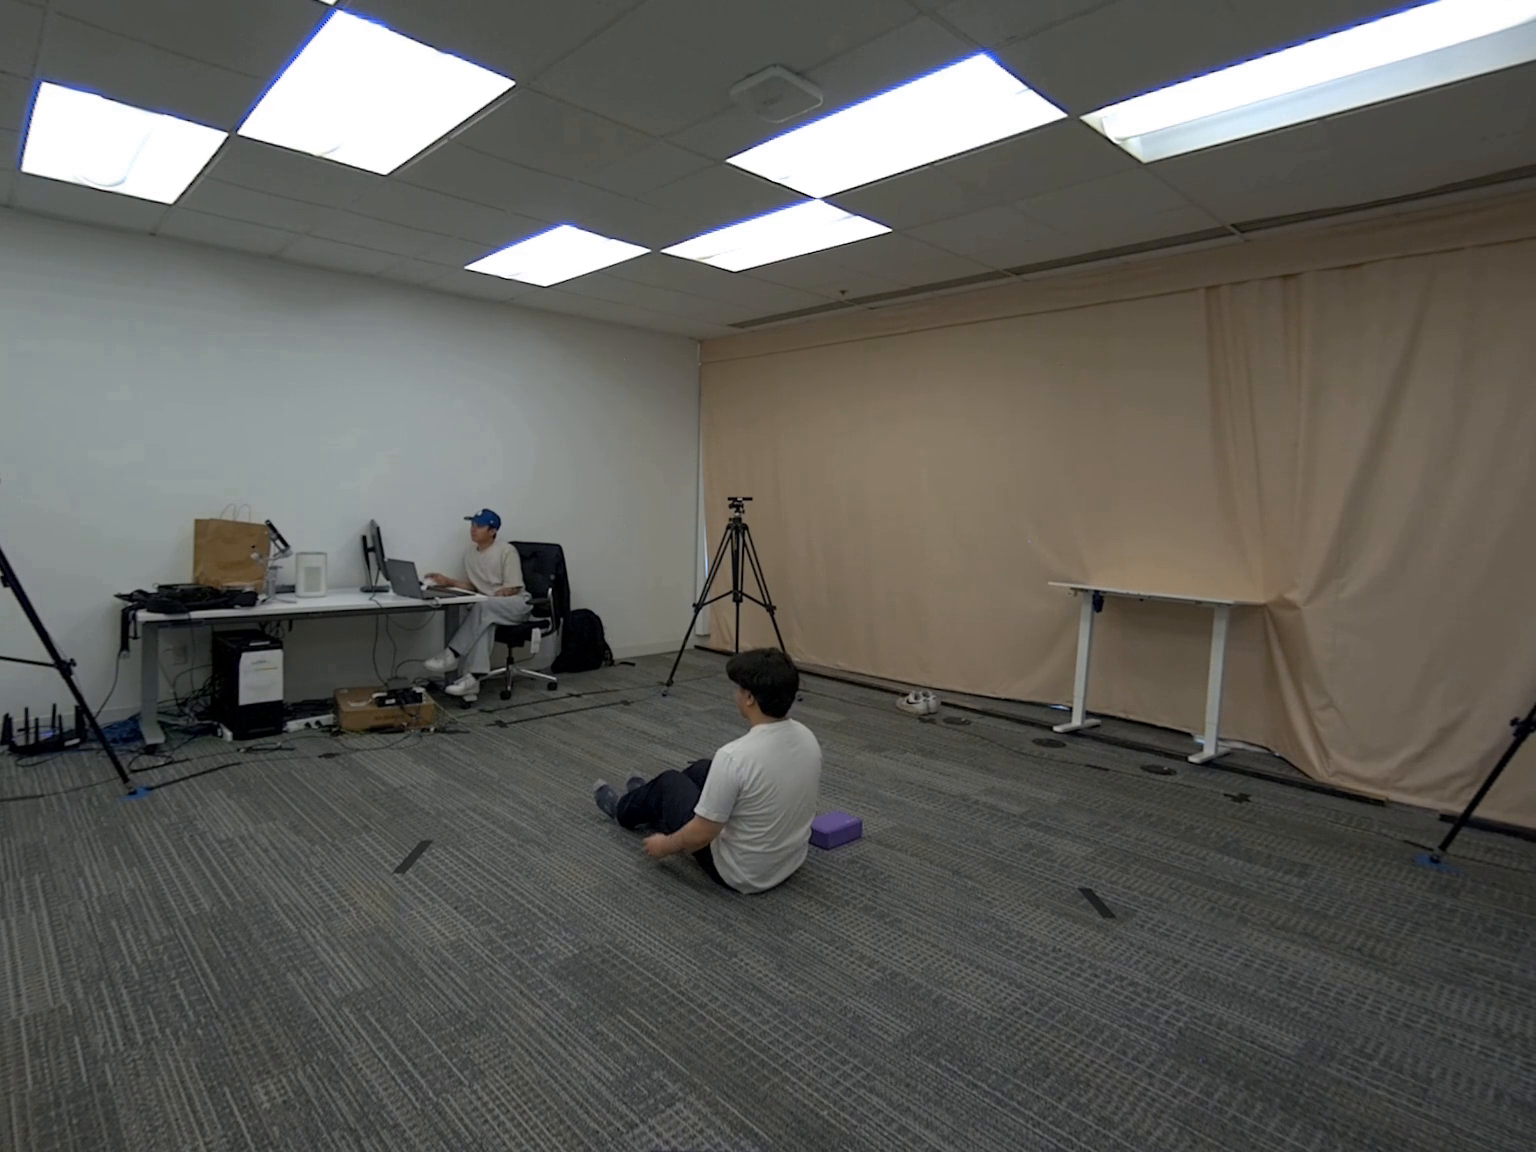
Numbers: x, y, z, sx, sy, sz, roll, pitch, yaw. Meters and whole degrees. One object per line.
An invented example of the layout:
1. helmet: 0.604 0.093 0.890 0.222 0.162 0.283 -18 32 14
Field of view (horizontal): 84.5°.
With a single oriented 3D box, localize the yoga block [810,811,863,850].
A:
1. yoga block: 0.253 1.044 3.477 0.153 0.076 0.224 5 6 44
